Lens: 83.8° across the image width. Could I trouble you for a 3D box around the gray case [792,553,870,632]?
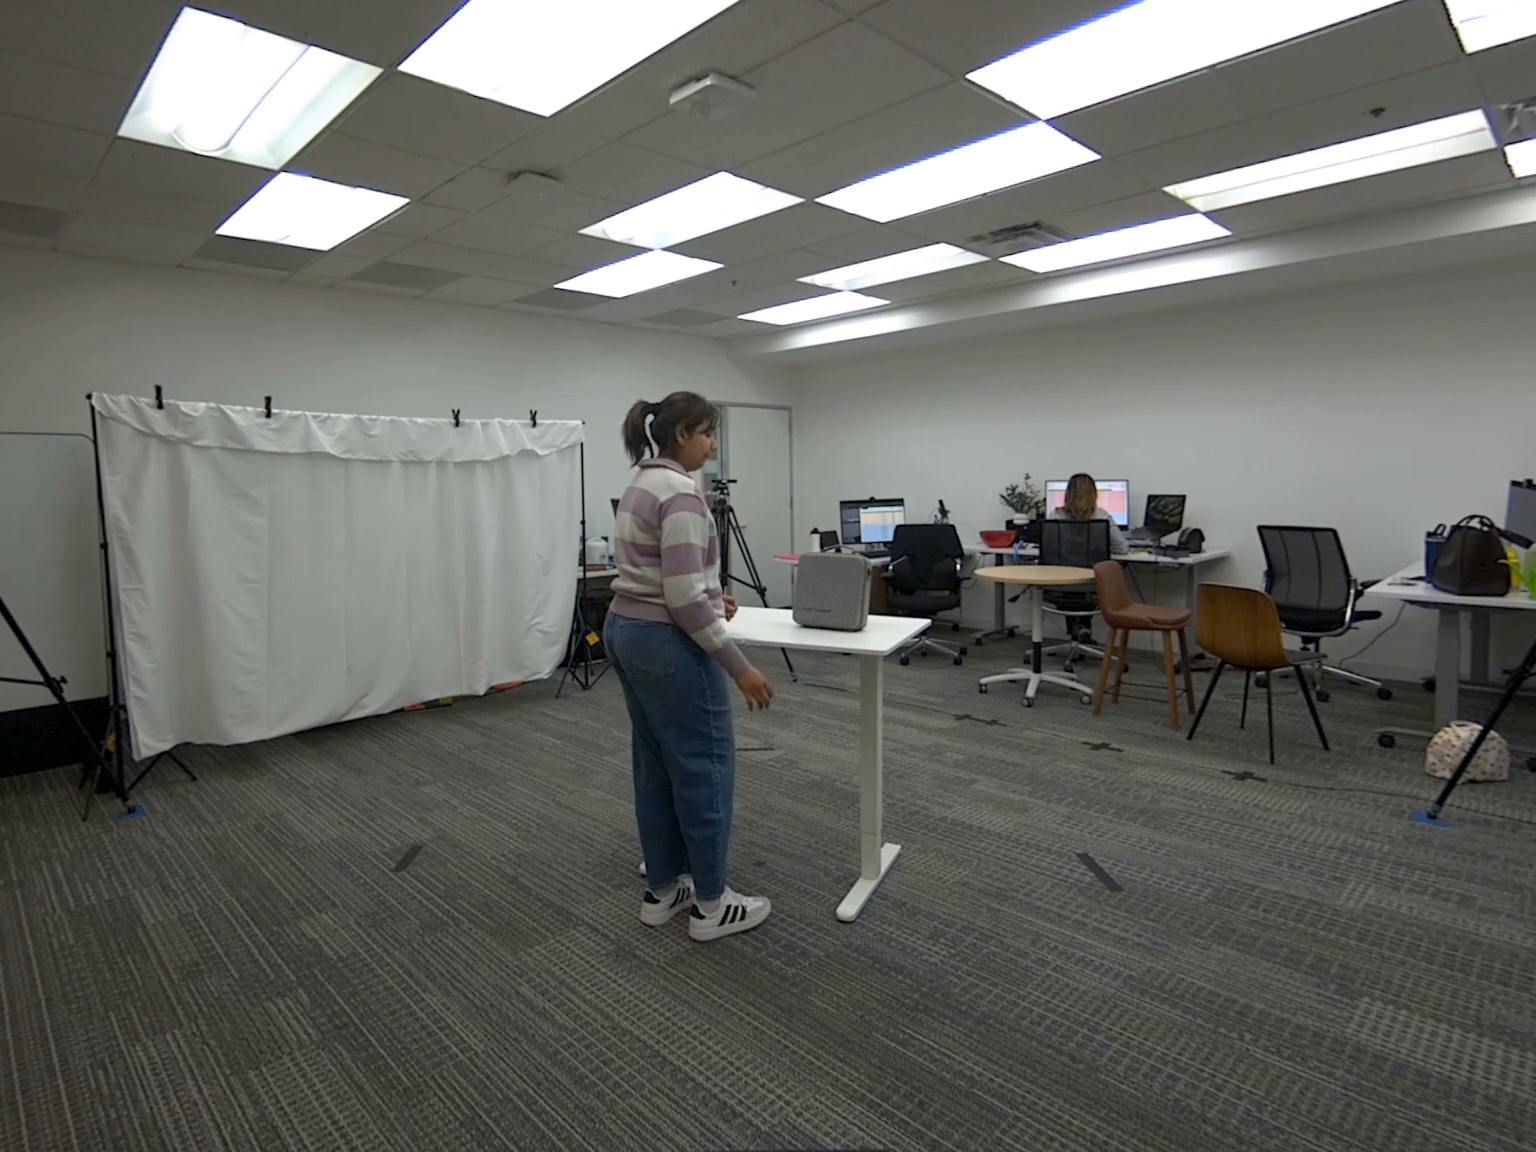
[{"bbox_3d":[0.220,0.047,2.947,0.264,0.261,0.101,4,-5,31],"label":"gray case"}]
